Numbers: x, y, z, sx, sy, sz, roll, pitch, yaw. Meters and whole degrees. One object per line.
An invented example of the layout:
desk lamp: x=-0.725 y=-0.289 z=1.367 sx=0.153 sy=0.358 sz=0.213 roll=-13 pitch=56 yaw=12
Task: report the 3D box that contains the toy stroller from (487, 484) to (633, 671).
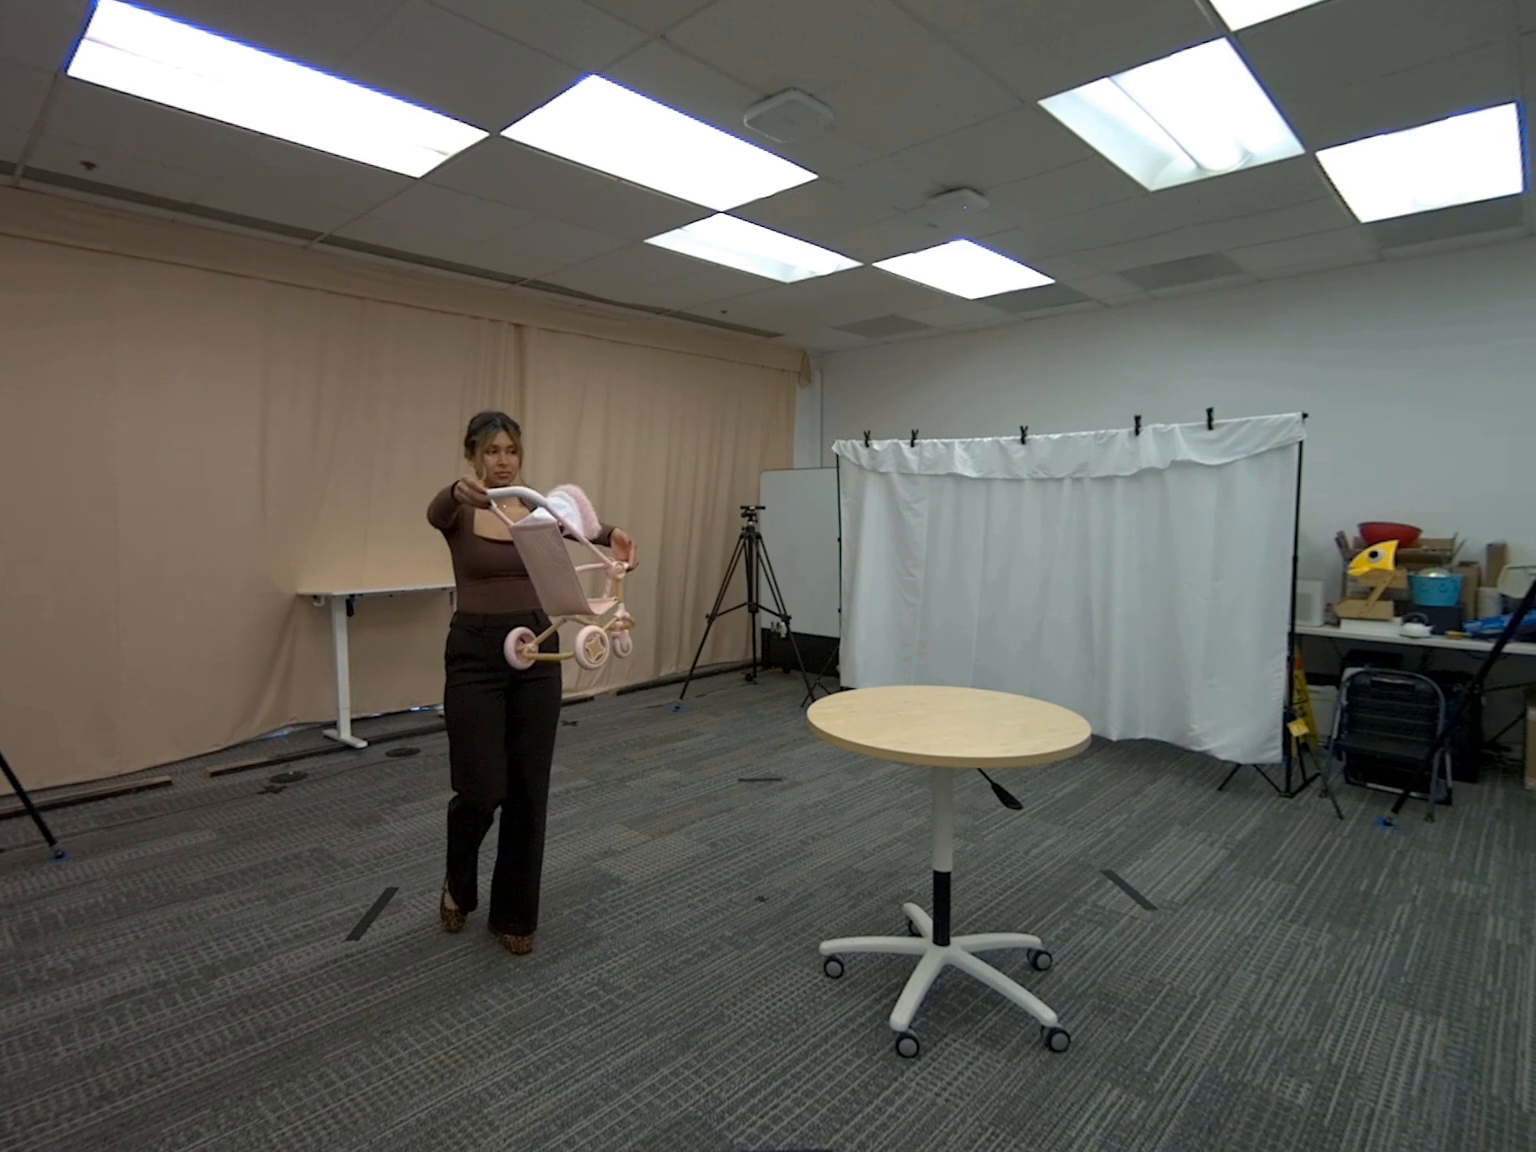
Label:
toy stroller: x=-0.508 y=0.008 z=2.195 sx=0.290 sy=0.531 sz=0.334 roll=-4 pitch=11 yaw=37
